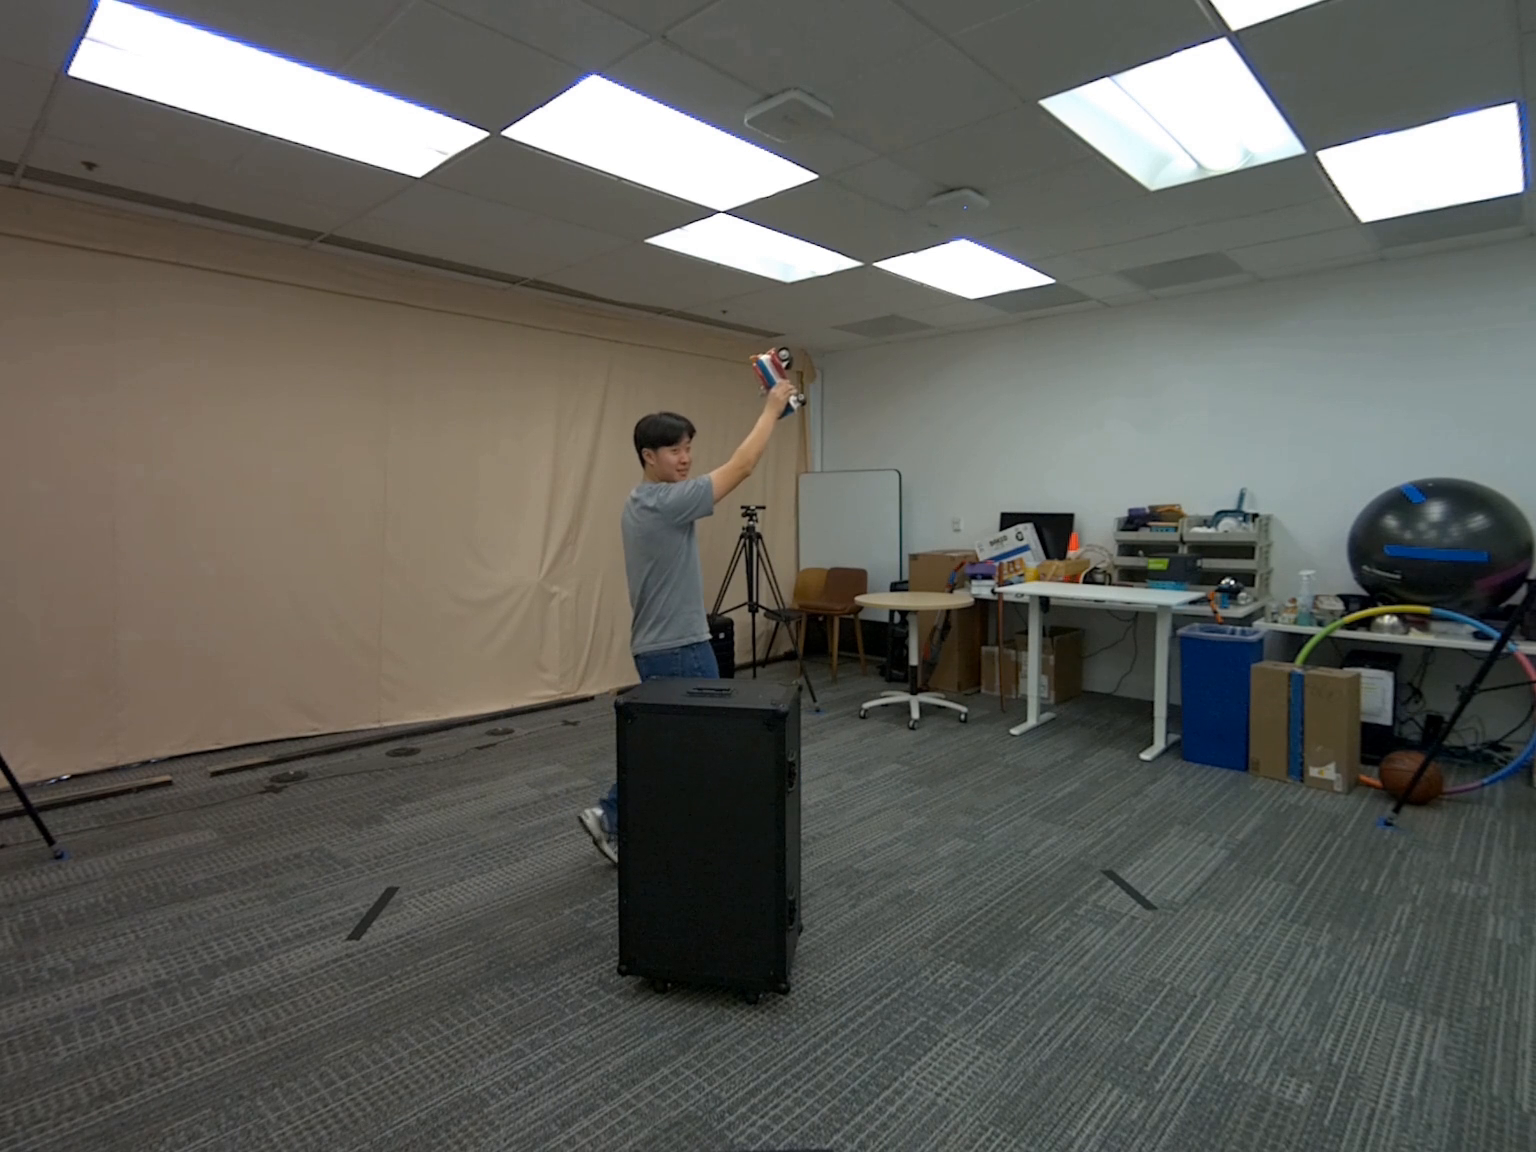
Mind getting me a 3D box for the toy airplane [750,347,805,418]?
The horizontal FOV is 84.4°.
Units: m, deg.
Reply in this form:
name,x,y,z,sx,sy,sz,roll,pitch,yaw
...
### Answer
name,x,y,z,sx,sy,sz,roll,pitch,yaw
toy airplane,0.044,-0.723,3.128,0.157,0.265,0.243,-19,-36,6
